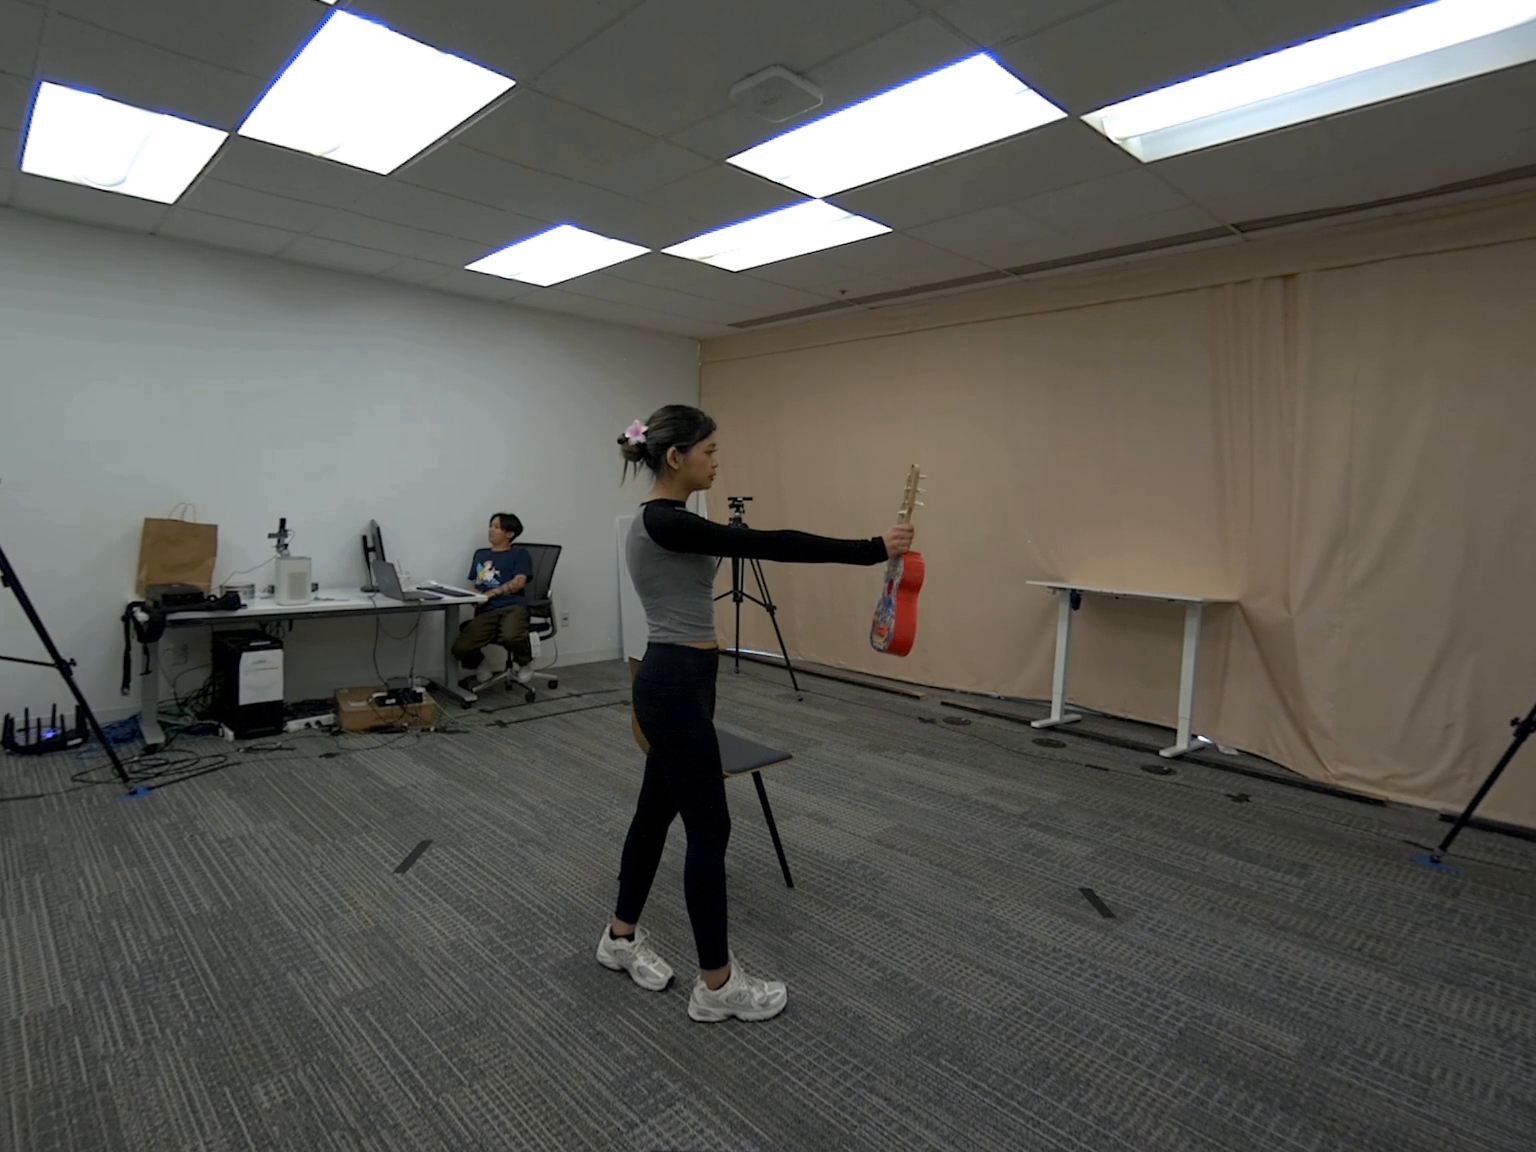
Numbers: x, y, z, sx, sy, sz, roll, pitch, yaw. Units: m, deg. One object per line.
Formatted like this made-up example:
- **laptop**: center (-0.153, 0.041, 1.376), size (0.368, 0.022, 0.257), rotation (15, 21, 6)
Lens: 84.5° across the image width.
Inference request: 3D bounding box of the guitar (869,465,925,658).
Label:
- **guitar**: center (0.353, -0.035, 2.172), size (0.070, 0.495, 0.194), rotation (12, 8, -4)
